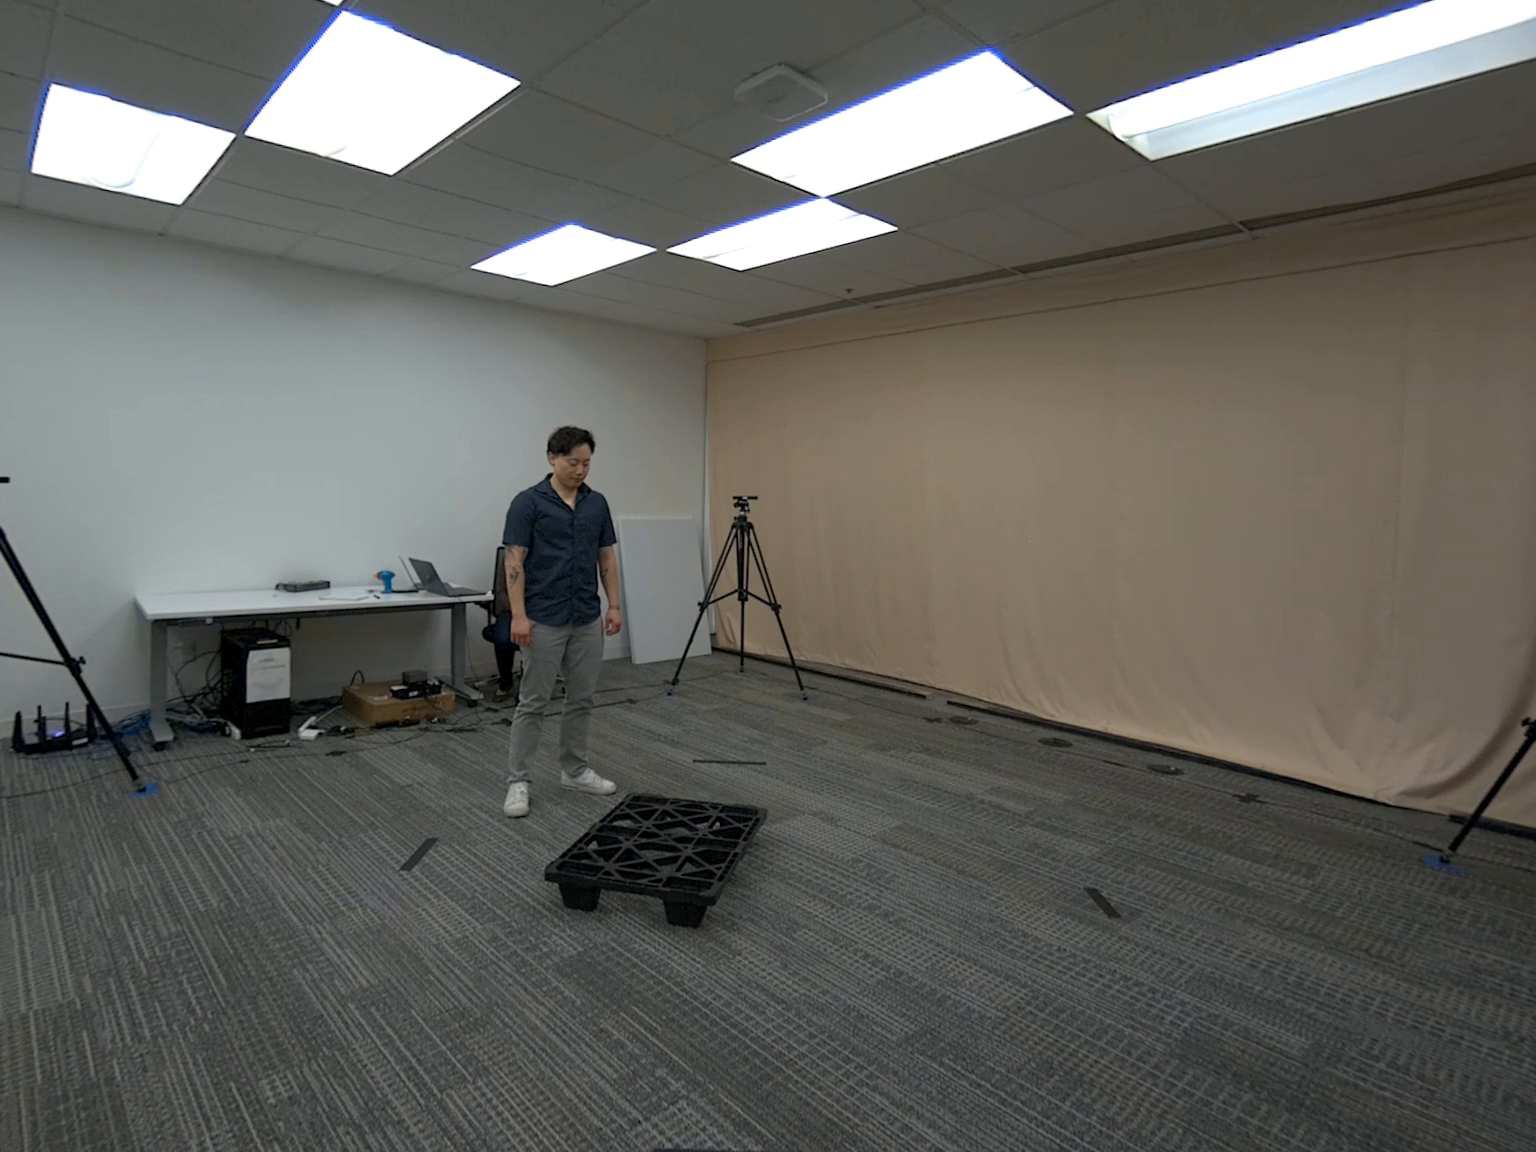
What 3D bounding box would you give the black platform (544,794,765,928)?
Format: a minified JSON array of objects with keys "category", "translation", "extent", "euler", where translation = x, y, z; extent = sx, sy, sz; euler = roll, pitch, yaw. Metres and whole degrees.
[{"category":"black platform","translation":[-0.378,1.029,3.117],"extent":[0.612,0.143,0.799],"euler":[3,6,13]}]
